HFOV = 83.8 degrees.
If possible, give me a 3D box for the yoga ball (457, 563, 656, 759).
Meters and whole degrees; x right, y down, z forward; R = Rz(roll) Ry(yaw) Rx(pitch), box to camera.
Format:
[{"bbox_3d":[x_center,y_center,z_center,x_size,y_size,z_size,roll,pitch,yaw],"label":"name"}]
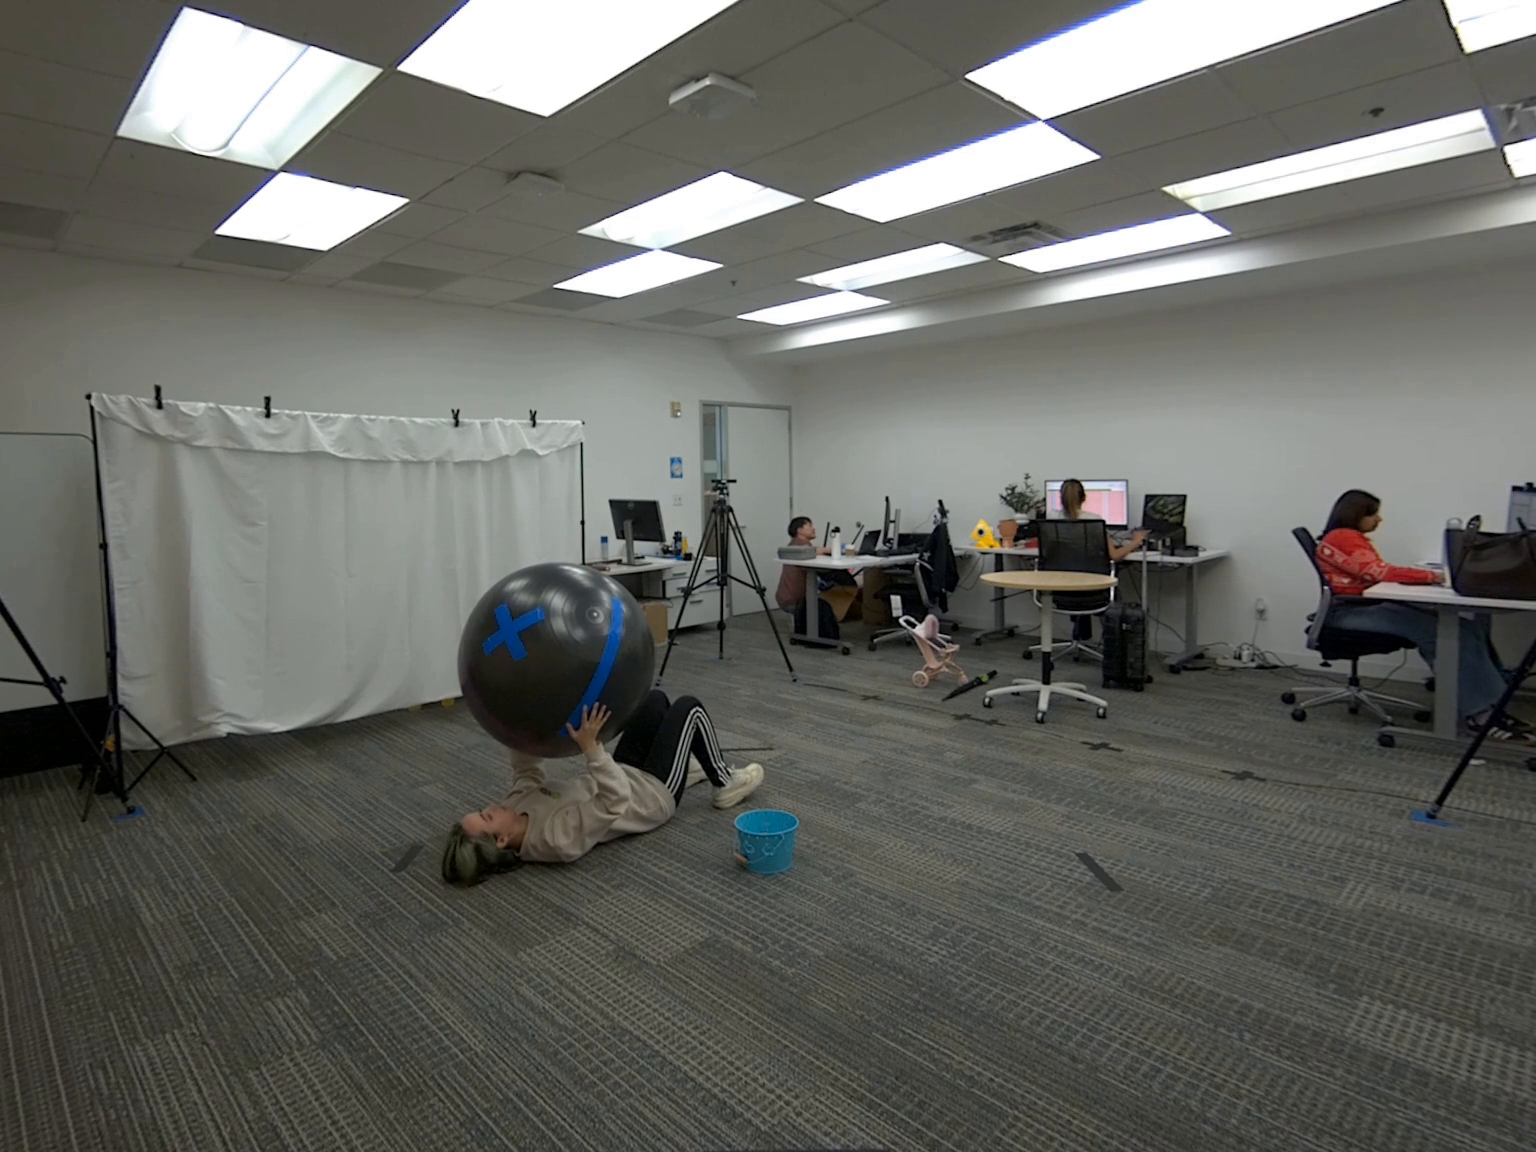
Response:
[{"bbox_3d":[-0.829,0.326,3.350,0.757,0.755,0.762,-1,5,-2],"label":"yoga ball"}]
